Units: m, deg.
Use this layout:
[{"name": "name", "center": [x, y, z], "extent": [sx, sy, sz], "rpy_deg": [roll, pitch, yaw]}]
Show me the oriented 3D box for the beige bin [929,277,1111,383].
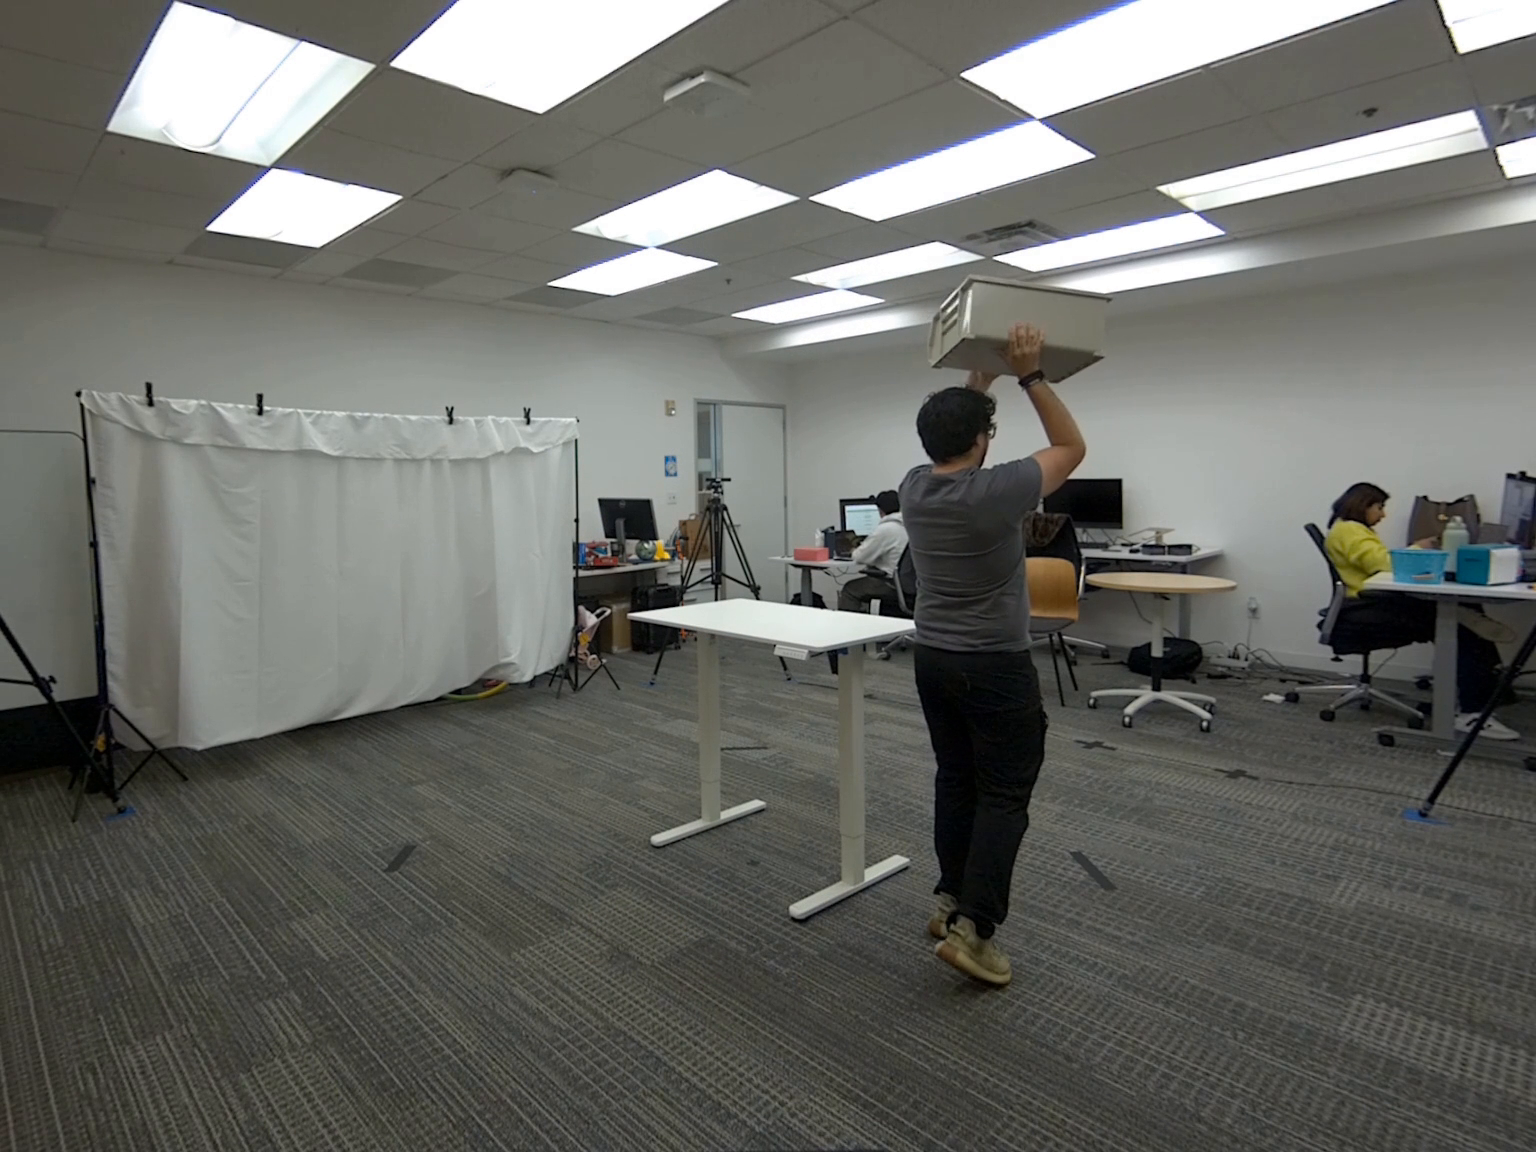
[{"name": "beige bin", "center": [0.743, -0.731, 2.587], "extent": [0.421, 0.189, 0.378], "rpy_deg": [8, -2, -4]}]
